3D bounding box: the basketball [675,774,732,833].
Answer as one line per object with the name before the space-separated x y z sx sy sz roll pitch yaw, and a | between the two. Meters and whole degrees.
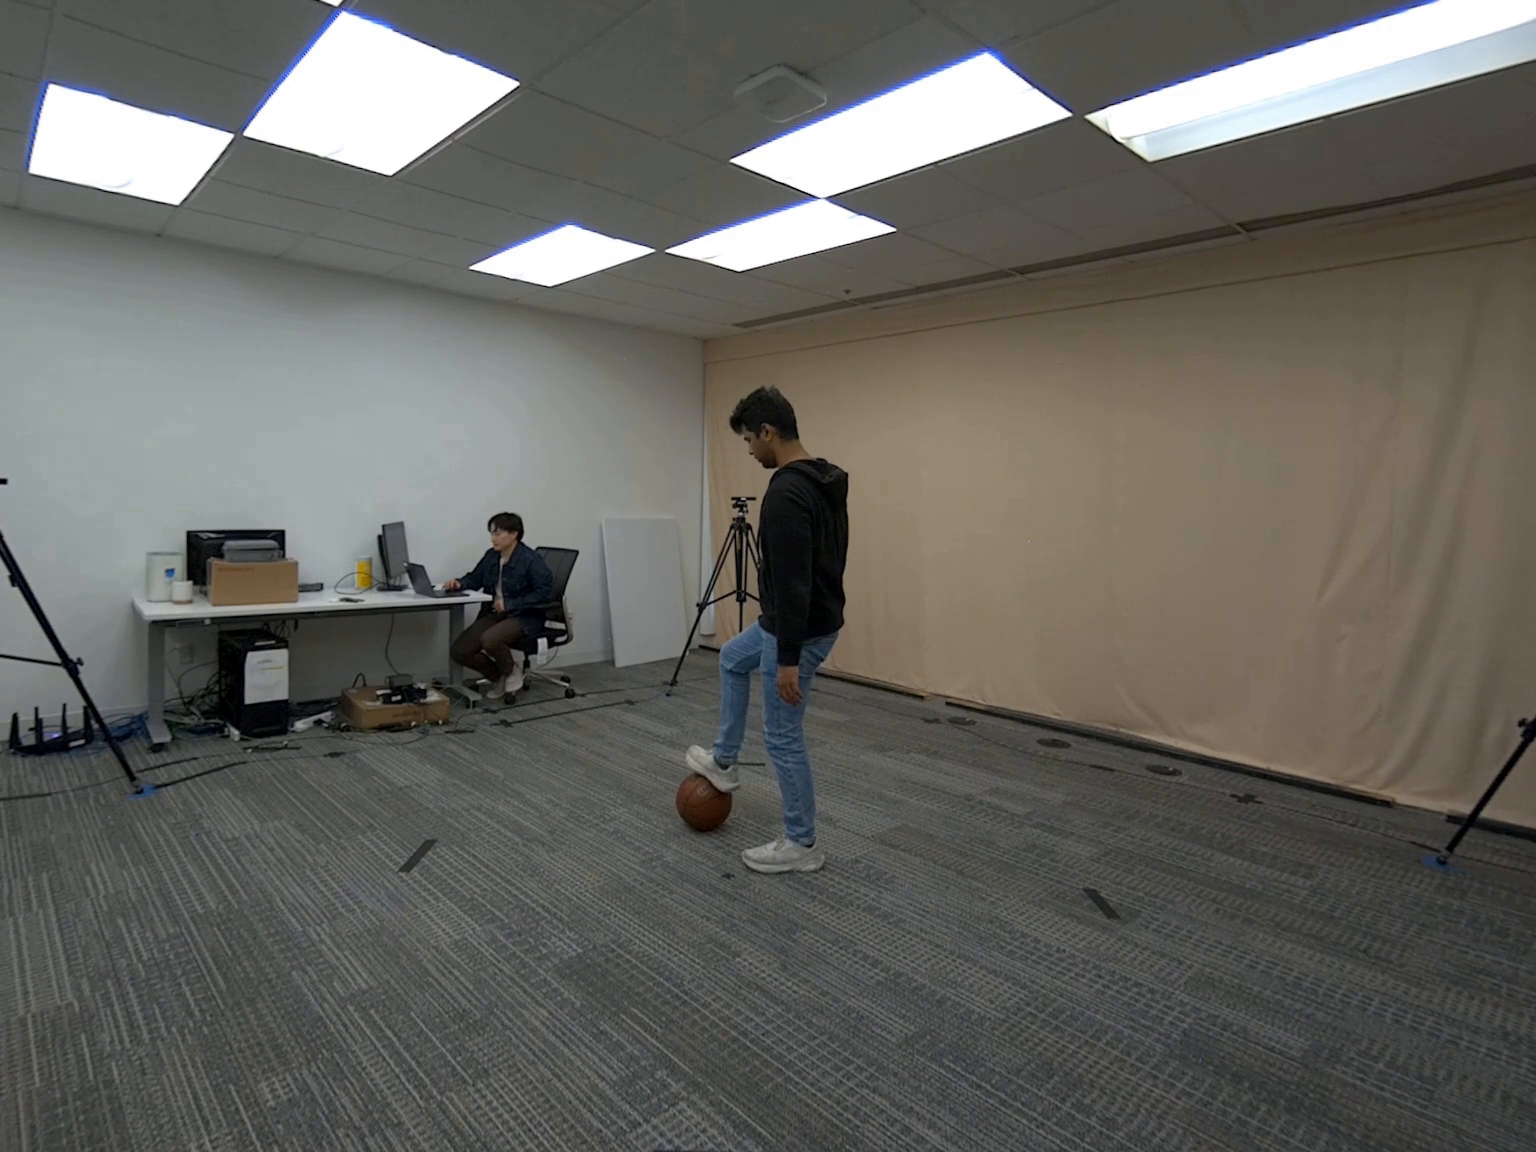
basketball | -0.270 0.945 3.550 0.236 0.235 0.237 1 4 -1
